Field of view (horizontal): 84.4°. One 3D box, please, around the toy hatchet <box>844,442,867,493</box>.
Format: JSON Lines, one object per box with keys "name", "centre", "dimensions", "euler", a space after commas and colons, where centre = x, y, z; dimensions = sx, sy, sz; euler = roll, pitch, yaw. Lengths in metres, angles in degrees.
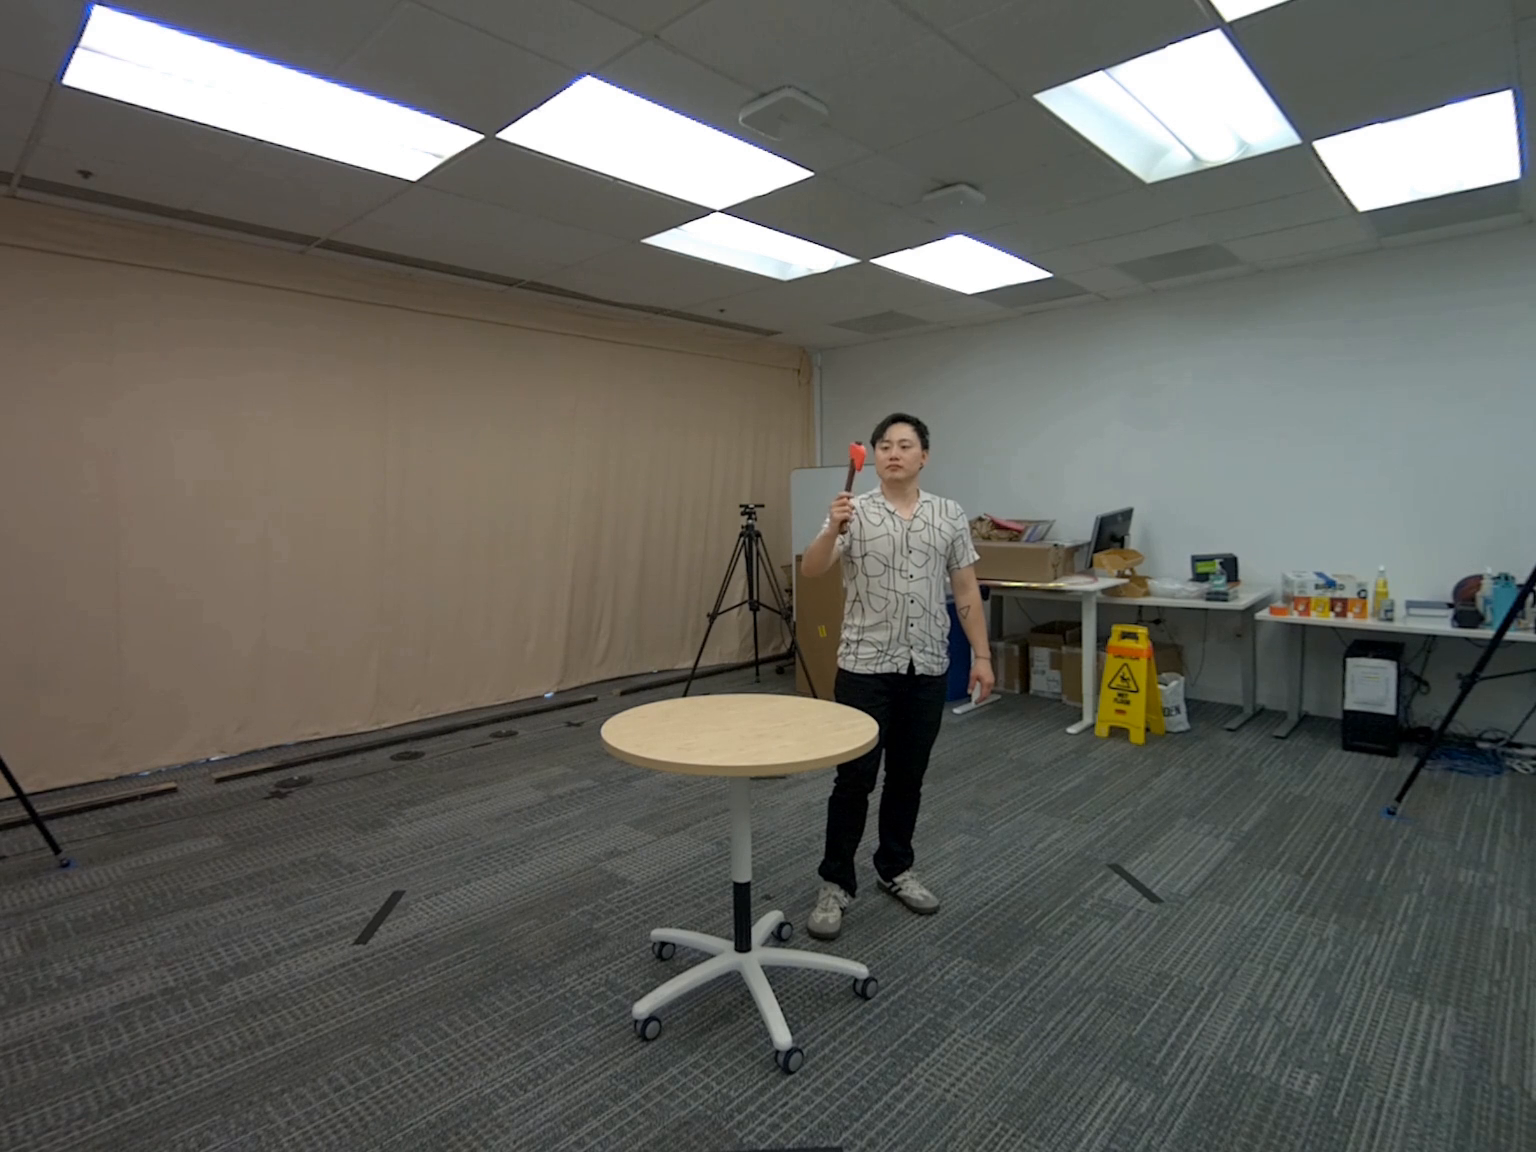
{"name": "toy hatchet", "centre": [0.263, -0.251, 2.421], "dimensions": [0.029, 0.270, 0.132], "euler": [3, -3, -14]}
